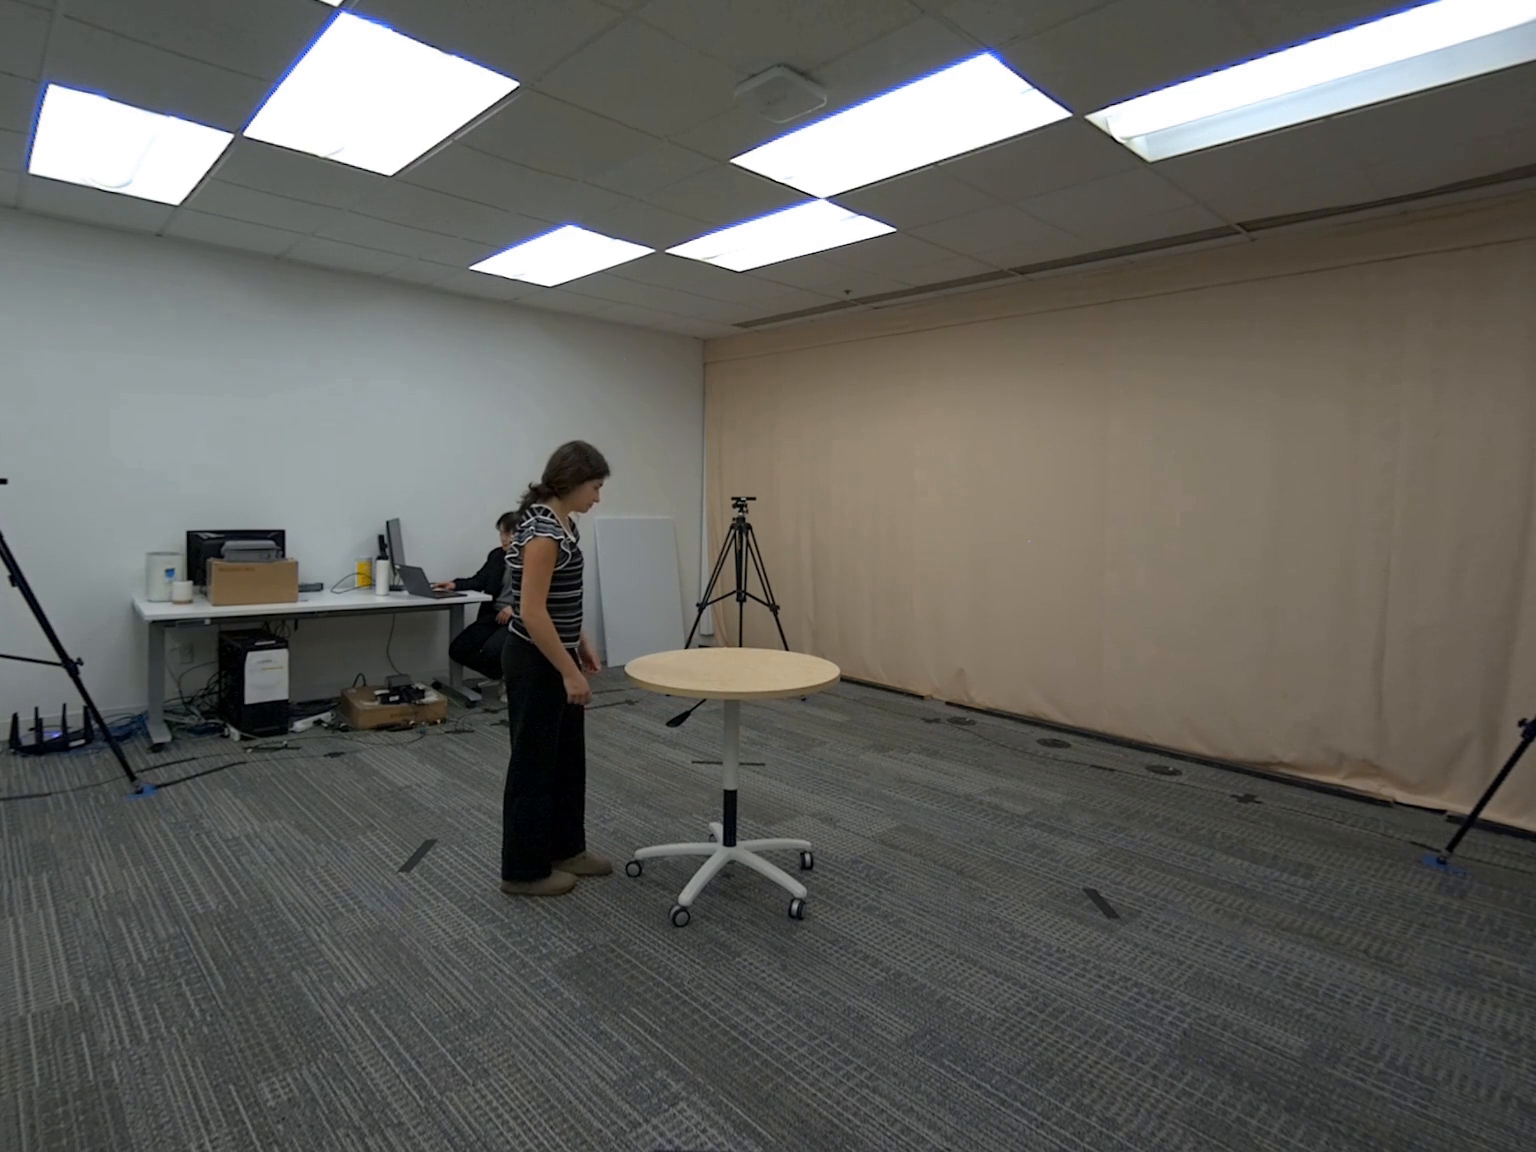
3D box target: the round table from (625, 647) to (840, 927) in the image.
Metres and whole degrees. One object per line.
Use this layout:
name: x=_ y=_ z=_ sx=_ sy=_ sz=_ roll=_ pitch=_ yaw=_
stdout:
round table: x=-0.151 y=0.716 z=3.029 sx=0.784 sy=0.784 sz=0.788 roll=1 pitch=4 yaw=-1
